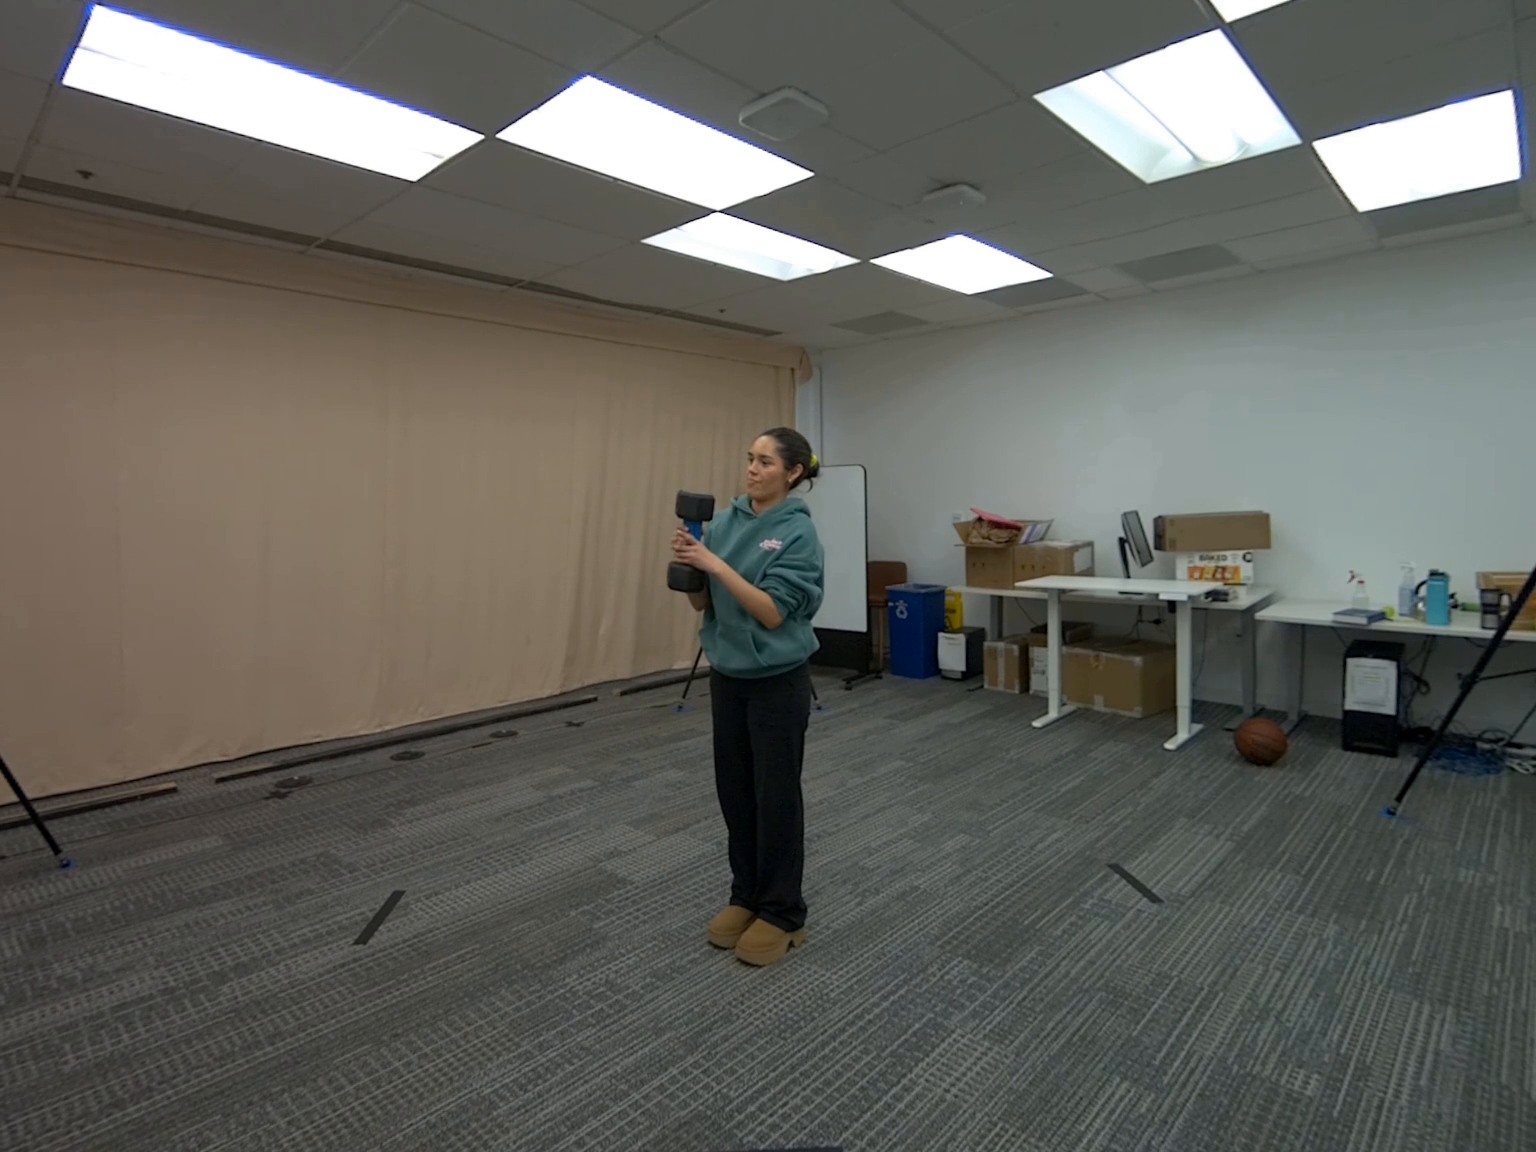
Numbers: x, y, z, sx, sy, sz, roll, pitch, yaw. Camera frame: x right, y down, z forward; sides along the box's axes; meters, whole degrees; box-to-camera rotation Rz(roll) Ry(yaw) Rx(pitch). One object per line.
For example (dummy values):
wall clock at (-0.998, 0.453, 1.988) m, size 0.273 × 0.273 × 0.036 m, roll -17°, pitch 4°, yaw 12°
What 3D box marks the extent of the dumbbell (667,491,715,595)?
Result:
dumbbell at (-0.217, -0.104, 2.482) m, size 0.112 × 0.292 × 0.119 m, roll 15°, pitch 9°, yaw 39°
